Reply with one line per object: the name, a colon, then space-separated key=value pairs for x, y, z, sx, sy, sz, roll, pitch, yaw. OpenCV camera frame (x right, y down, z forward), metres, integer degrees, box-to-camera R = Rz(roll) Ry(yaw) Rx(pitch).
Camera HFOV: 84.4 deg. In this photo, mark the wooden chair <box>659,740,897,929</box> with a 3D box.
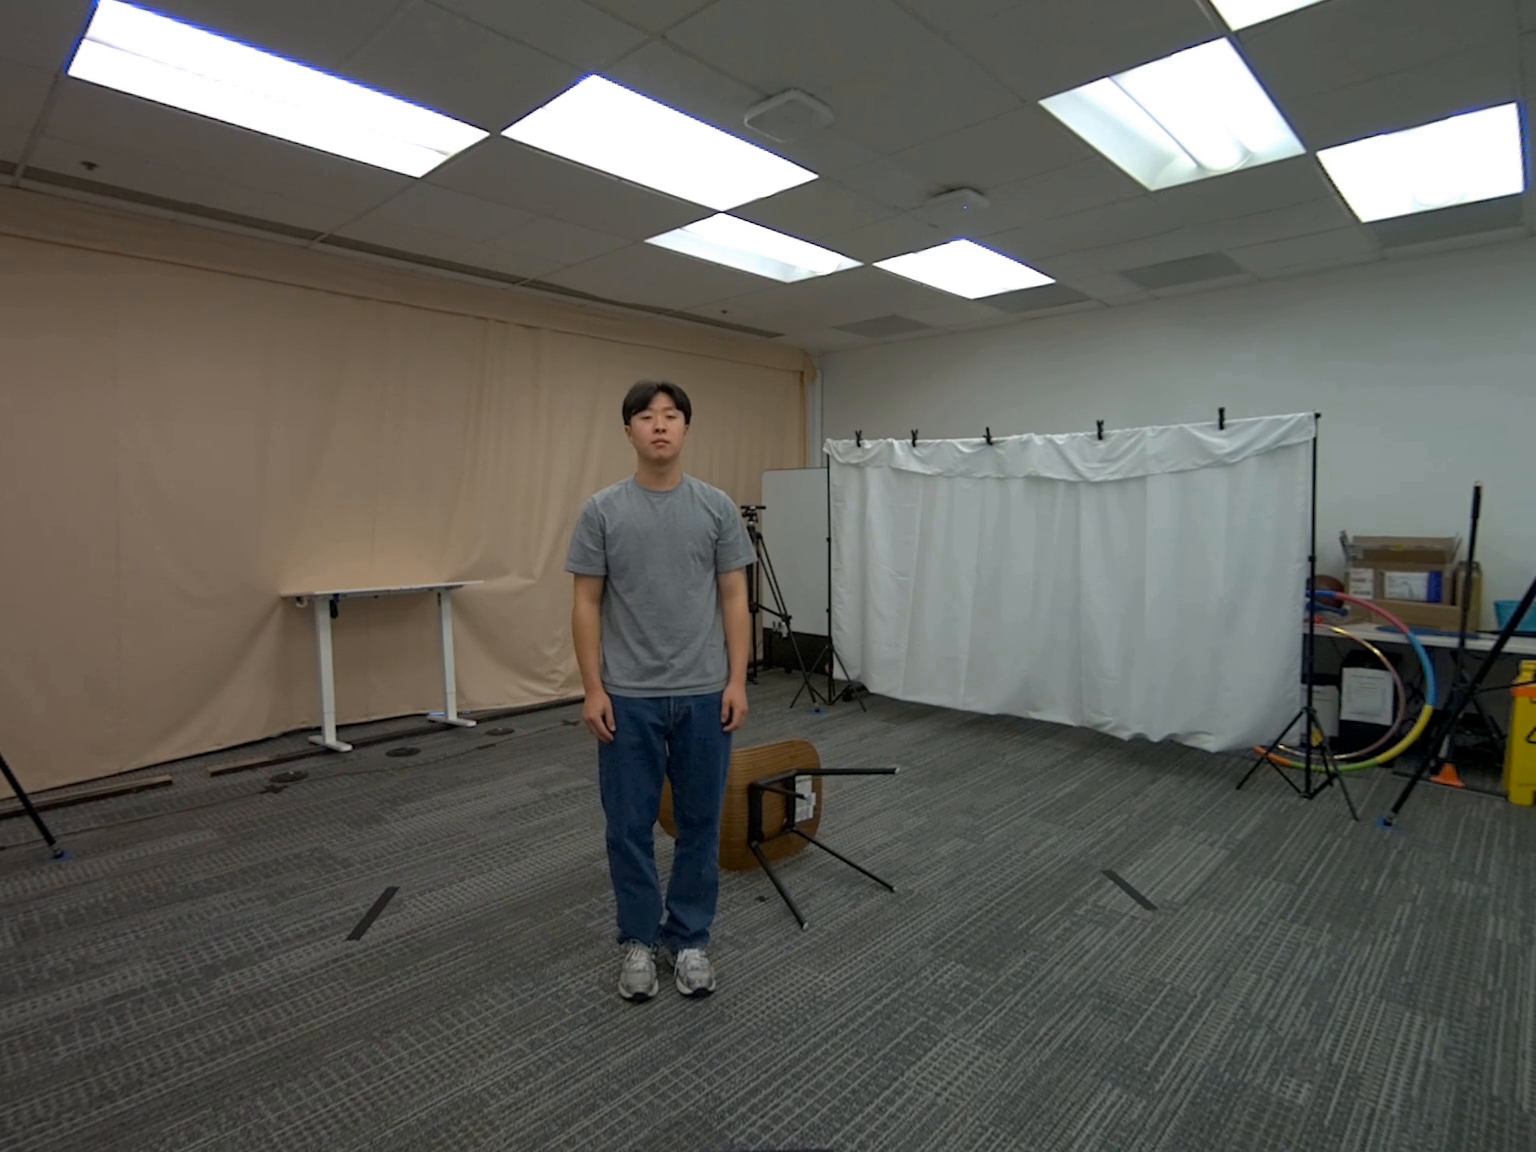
wooden chair: x=0.026 y=0.892 z=3.224 sx=0.507 sy=0.477 sz=0.907 roll=-4 pitch=6 yaw=-43
